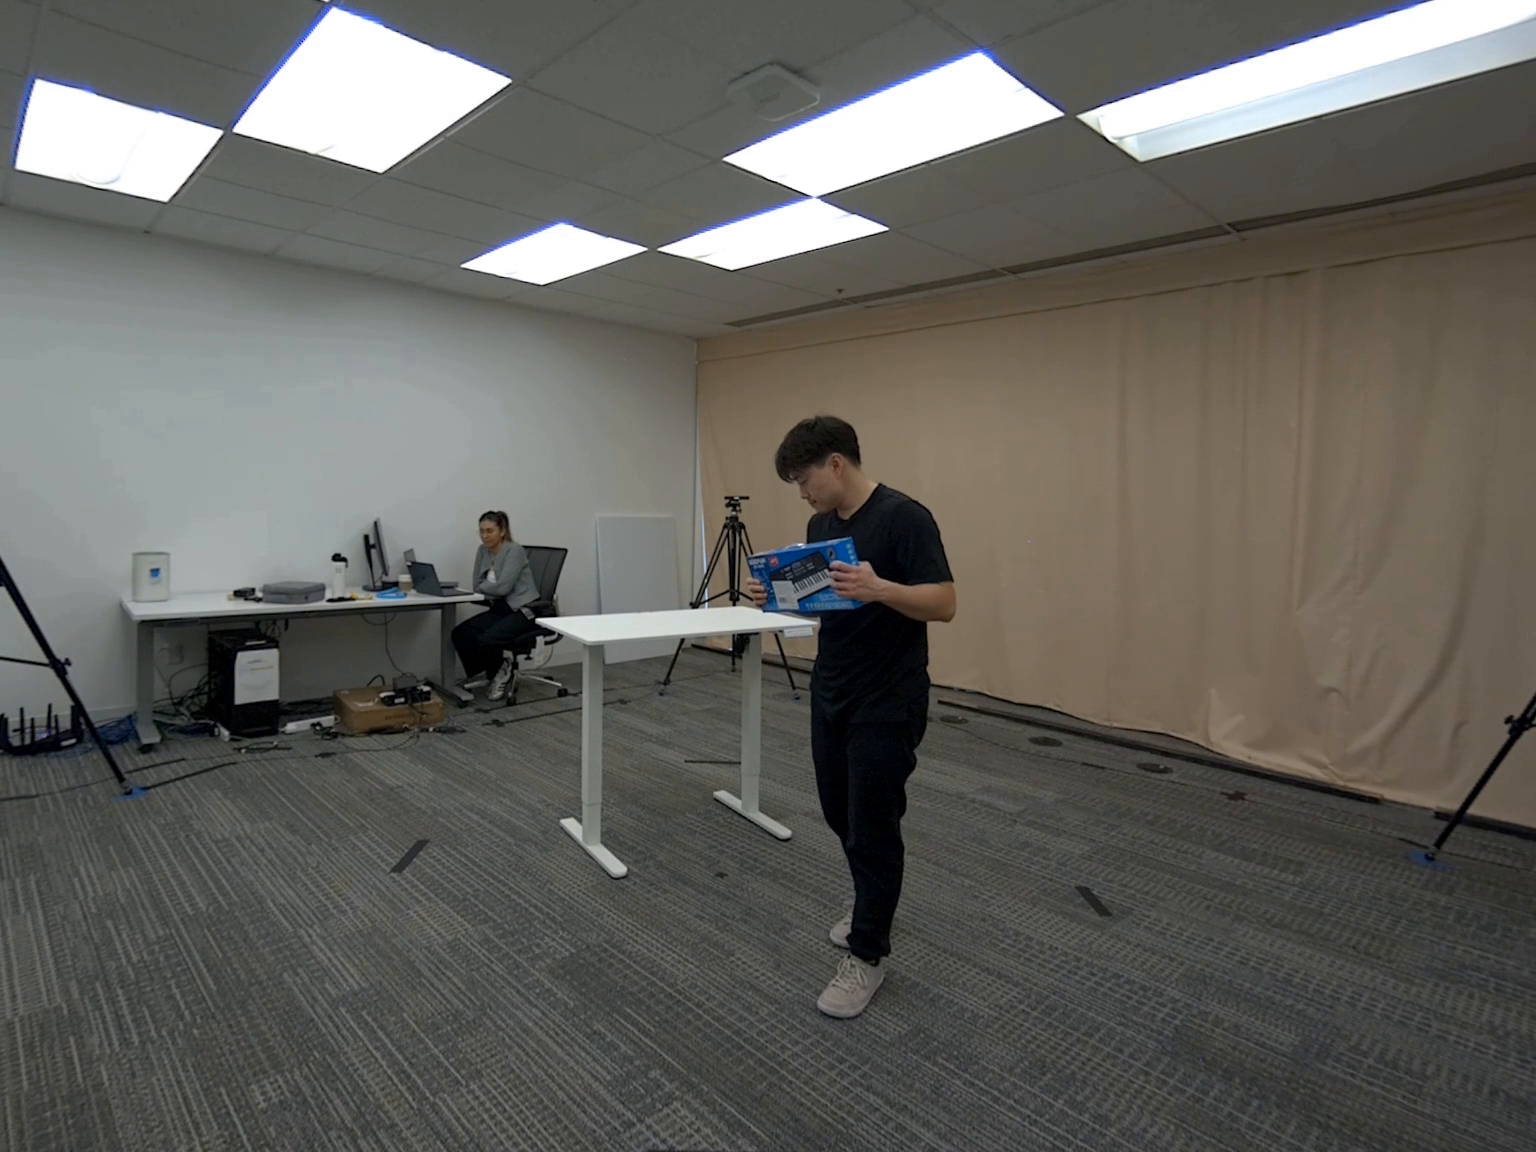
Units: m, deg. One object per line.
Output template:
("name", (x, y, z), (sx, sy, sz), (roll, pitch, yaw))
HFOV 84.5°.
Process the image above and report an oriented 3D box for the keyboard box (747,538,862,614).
("keyboard box", (0.099, 0.011, 2.292), (0.058, 0.175, 0.444), (-18, 5, -31))
